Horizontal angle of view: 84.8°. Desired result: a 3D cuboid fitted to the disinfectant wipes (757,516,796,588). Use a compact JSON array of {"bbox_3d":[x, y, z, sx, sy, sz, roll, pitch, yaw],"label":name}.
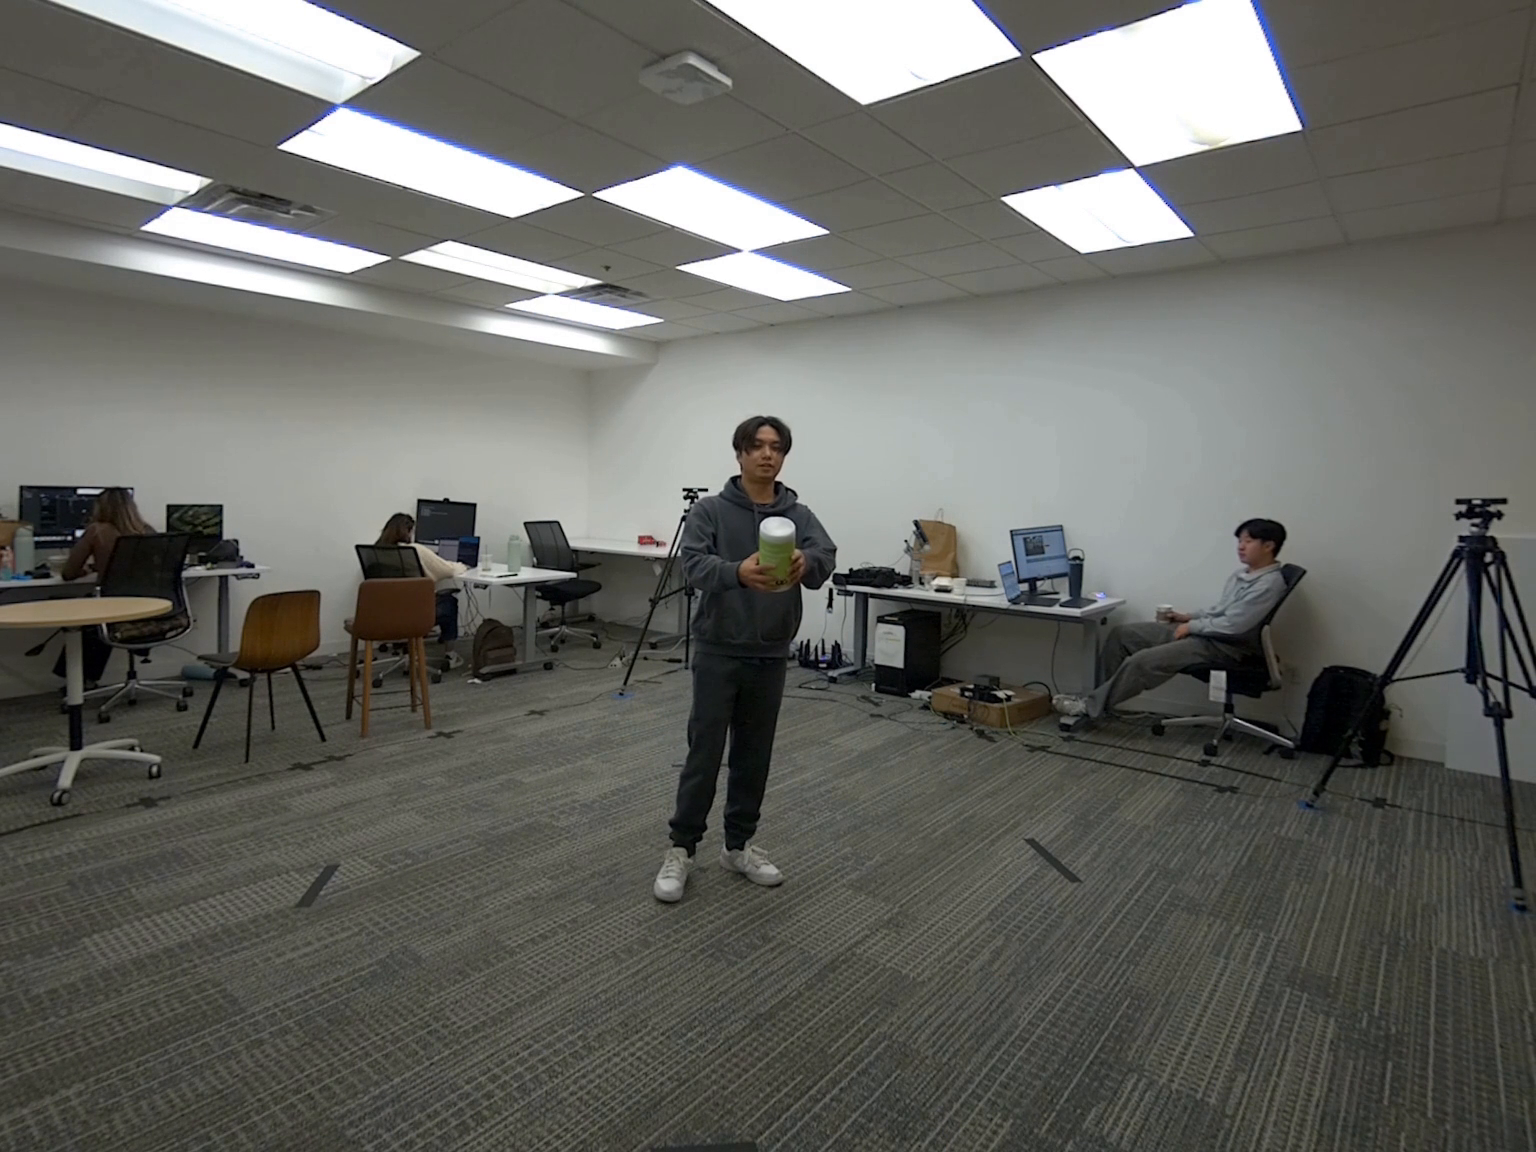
[{"bbox_3d":[0.014,-0.071,2.630,0.118,0.211,0.121,0,36,-2],"label":"disinfectant wipes"}]
